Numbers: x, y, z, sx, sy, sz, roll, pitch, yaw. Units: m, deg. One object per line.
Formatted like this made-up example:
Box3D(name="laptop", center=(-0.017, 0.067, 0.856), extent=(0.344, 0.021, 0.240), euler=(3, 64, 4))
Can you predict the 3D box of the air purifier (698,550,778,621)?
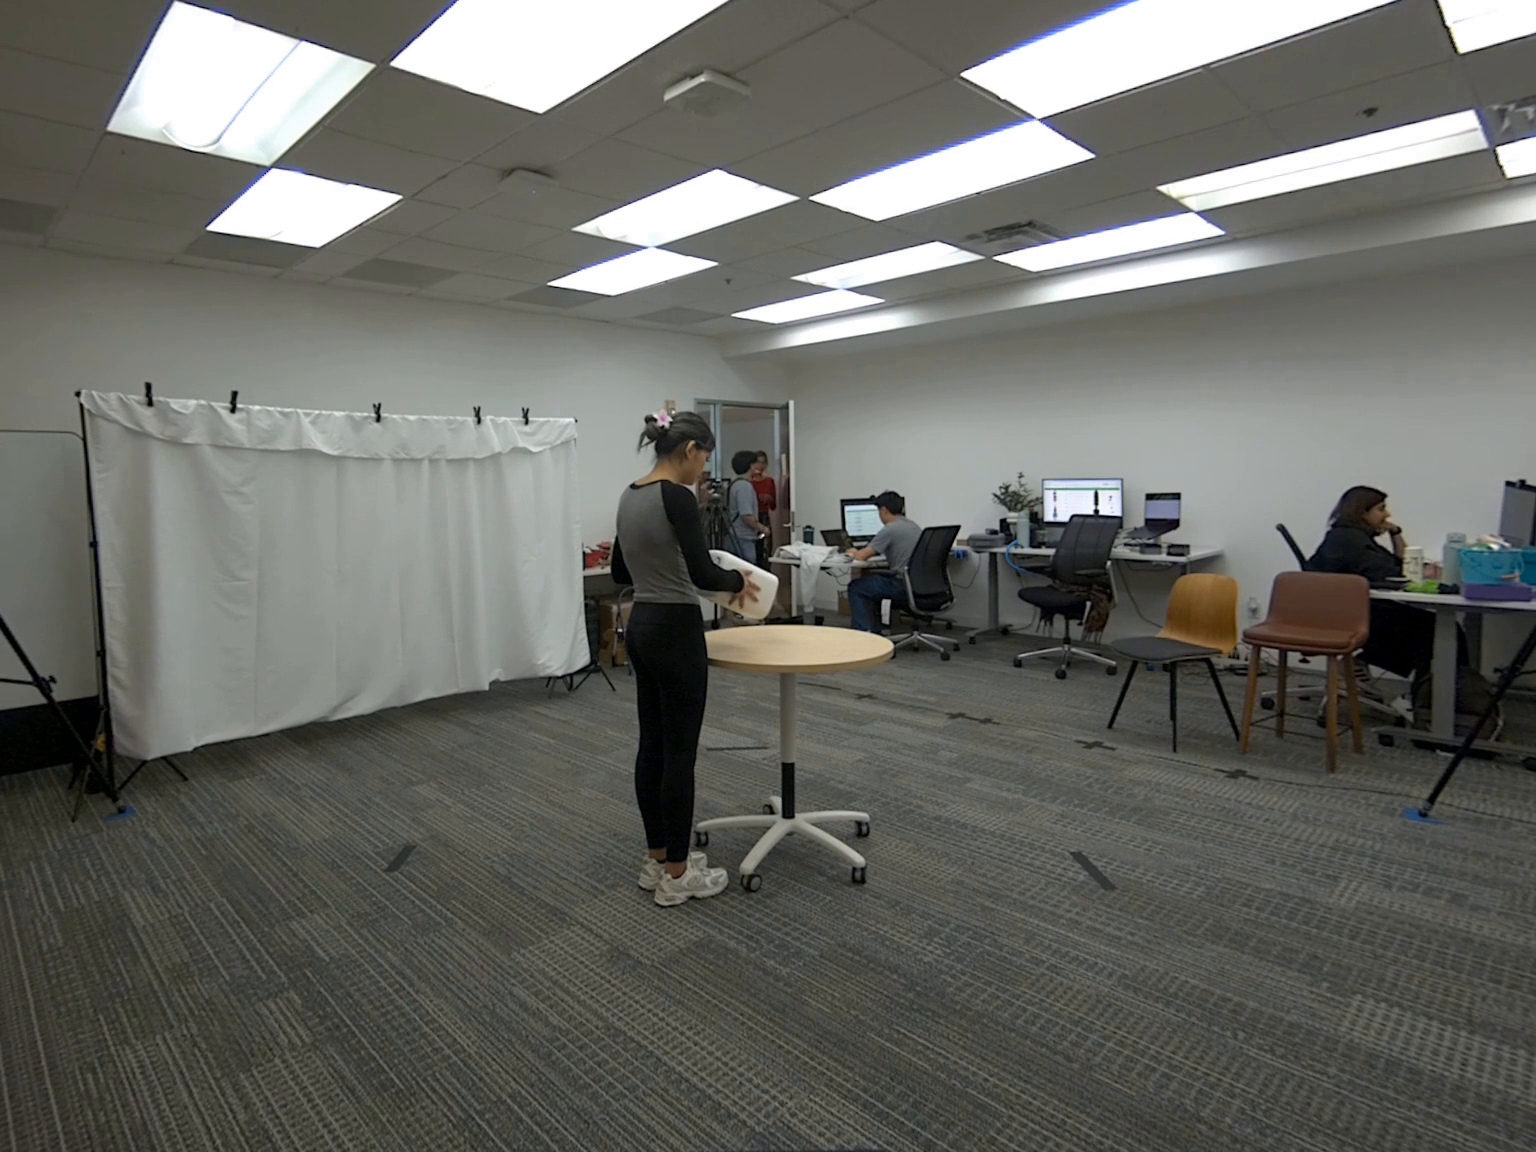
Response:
Box3D(name="air purifier", center=(-0.114, 0.027, 3.026), extent=(0.255, 0.172, 0.177), euler=(27, -13, -39))
